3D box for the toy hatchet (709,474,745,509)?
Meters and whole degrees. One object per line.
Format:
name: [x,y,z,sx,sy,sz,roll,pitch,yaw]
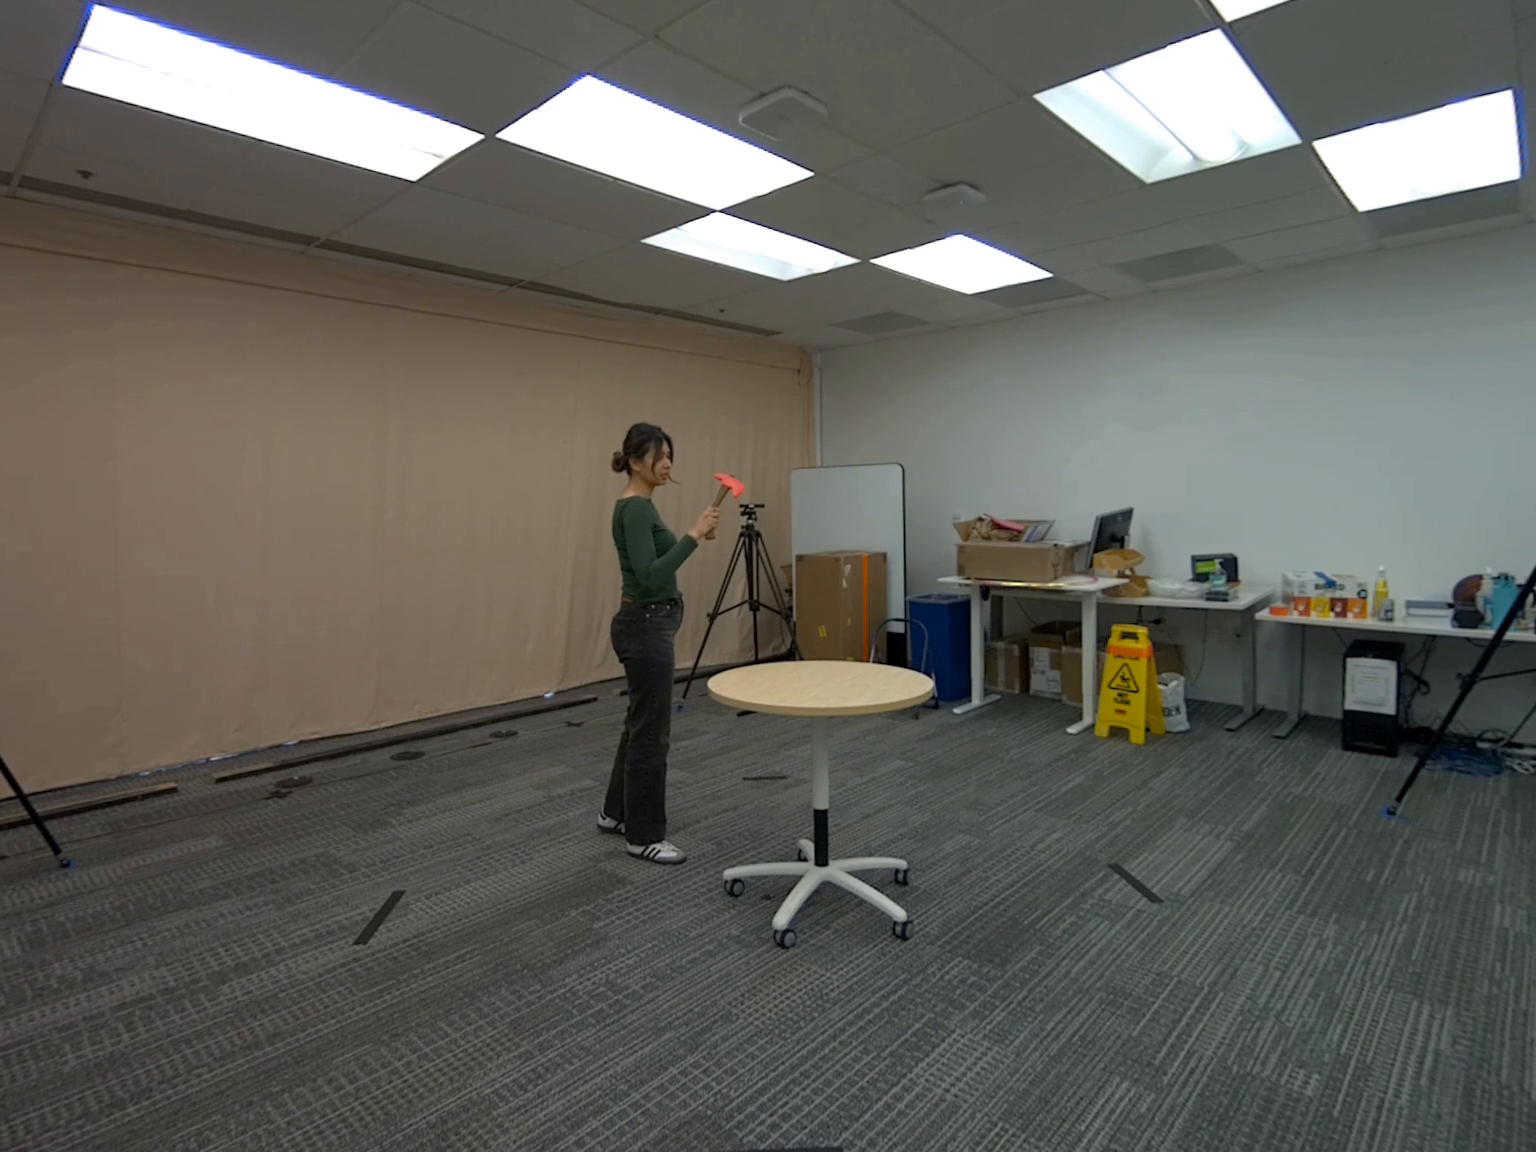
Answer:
toy hatchet: [-0.160,-0.262,3.193,0.131,0.272,0.029,6,-17,3]
